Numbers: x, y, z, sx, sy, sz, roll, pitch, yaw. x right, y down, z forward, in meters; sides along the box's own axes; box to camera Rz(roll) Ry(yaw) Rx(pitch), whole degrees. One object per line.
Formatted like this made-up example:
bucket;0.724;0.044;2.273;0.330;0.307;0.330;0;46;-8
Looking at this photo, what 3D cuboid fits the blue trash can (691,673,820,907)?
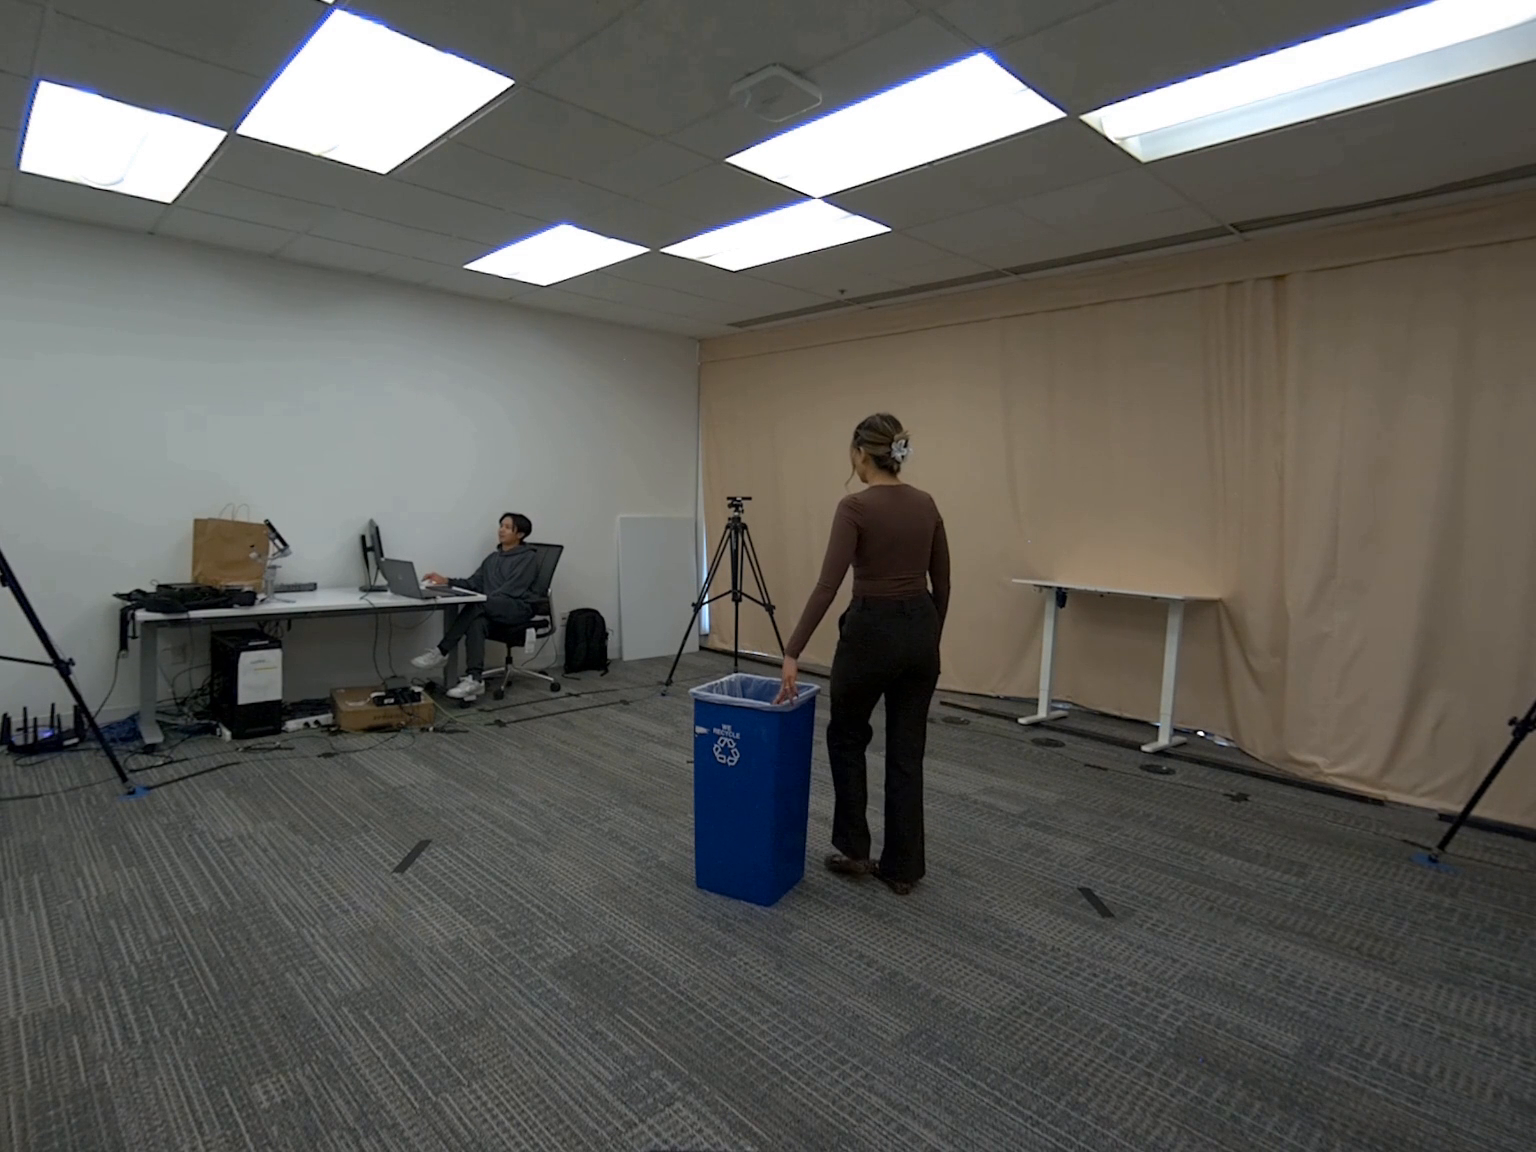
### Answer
blue trash can;-0.051;0.754;3.041;0.382;0.712;0.371;3;4;29
